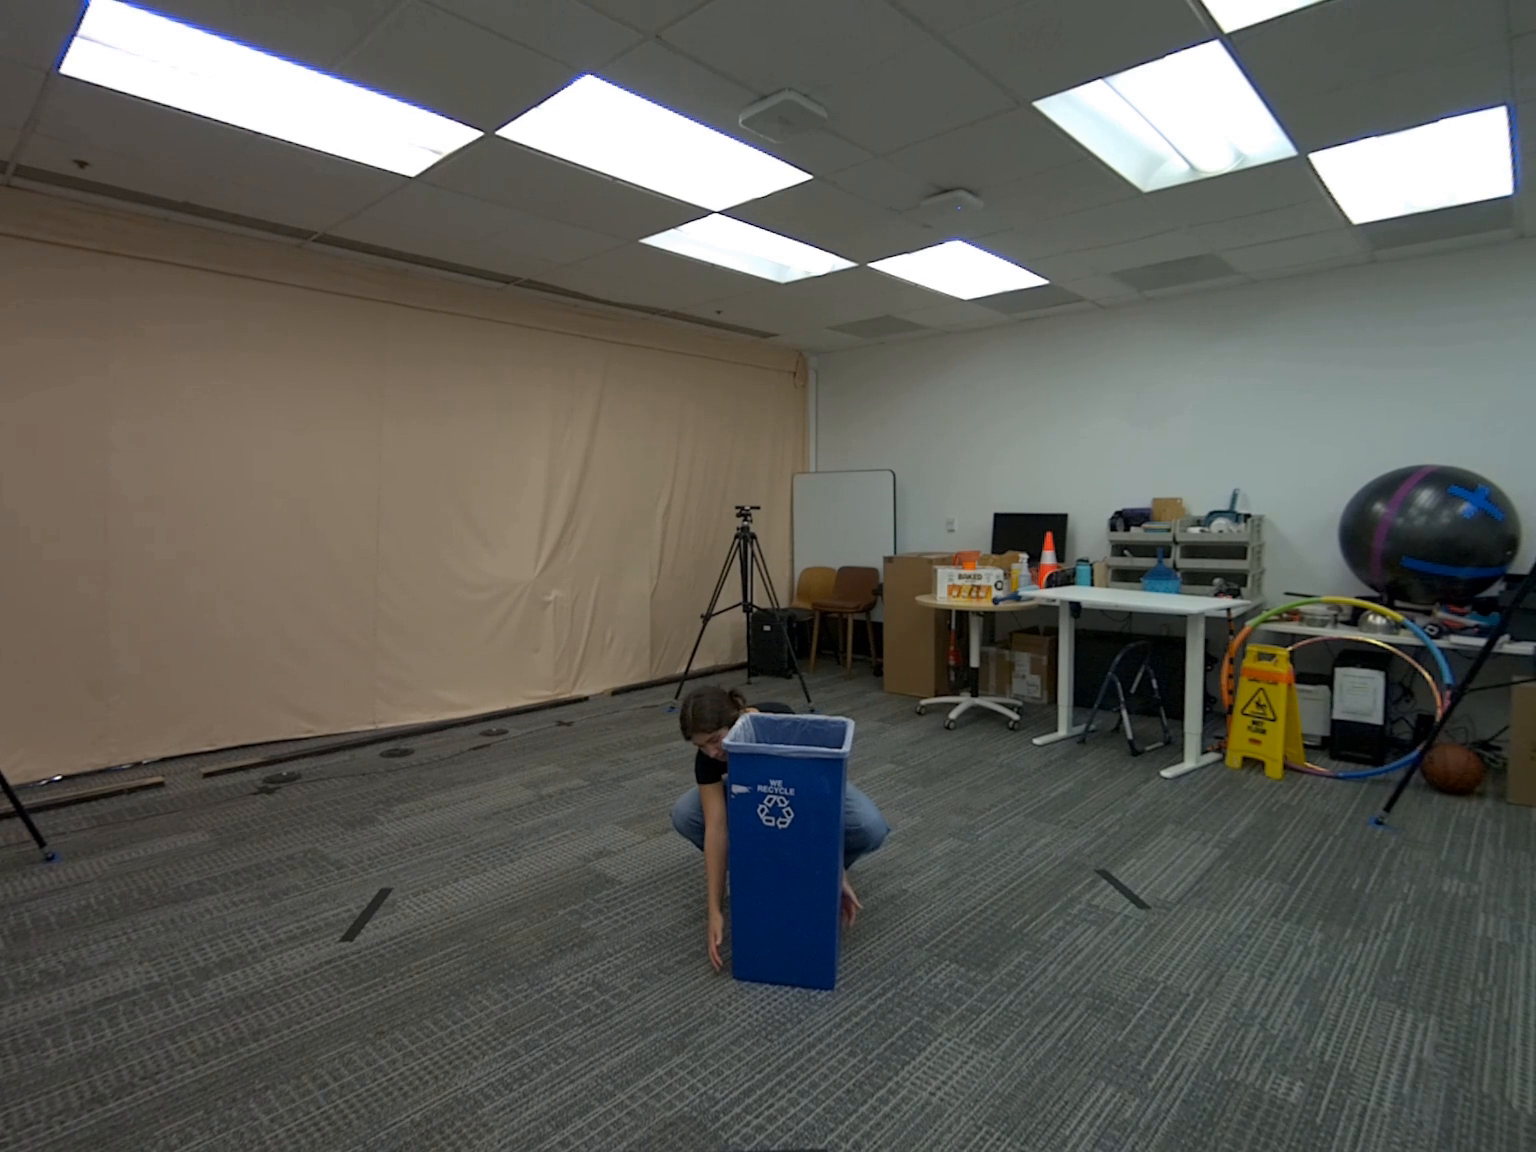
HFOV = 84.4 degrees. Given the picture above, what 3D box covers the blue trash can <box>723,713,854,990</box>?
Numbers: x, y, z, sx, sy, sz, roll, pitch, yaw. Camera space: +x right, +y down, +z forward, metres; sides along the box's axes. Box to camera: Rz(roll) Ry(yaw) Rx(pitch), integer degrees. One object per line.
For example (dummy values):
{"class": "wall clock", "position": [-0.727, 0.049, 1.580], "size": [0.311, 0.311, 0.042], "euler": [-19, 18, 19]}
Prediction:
{"class": "blue trash can", "position": [0.076, 0.816, 2.572], "size": [0.379, 0.712, 0.374], "euler": [0, 3, 11]}
